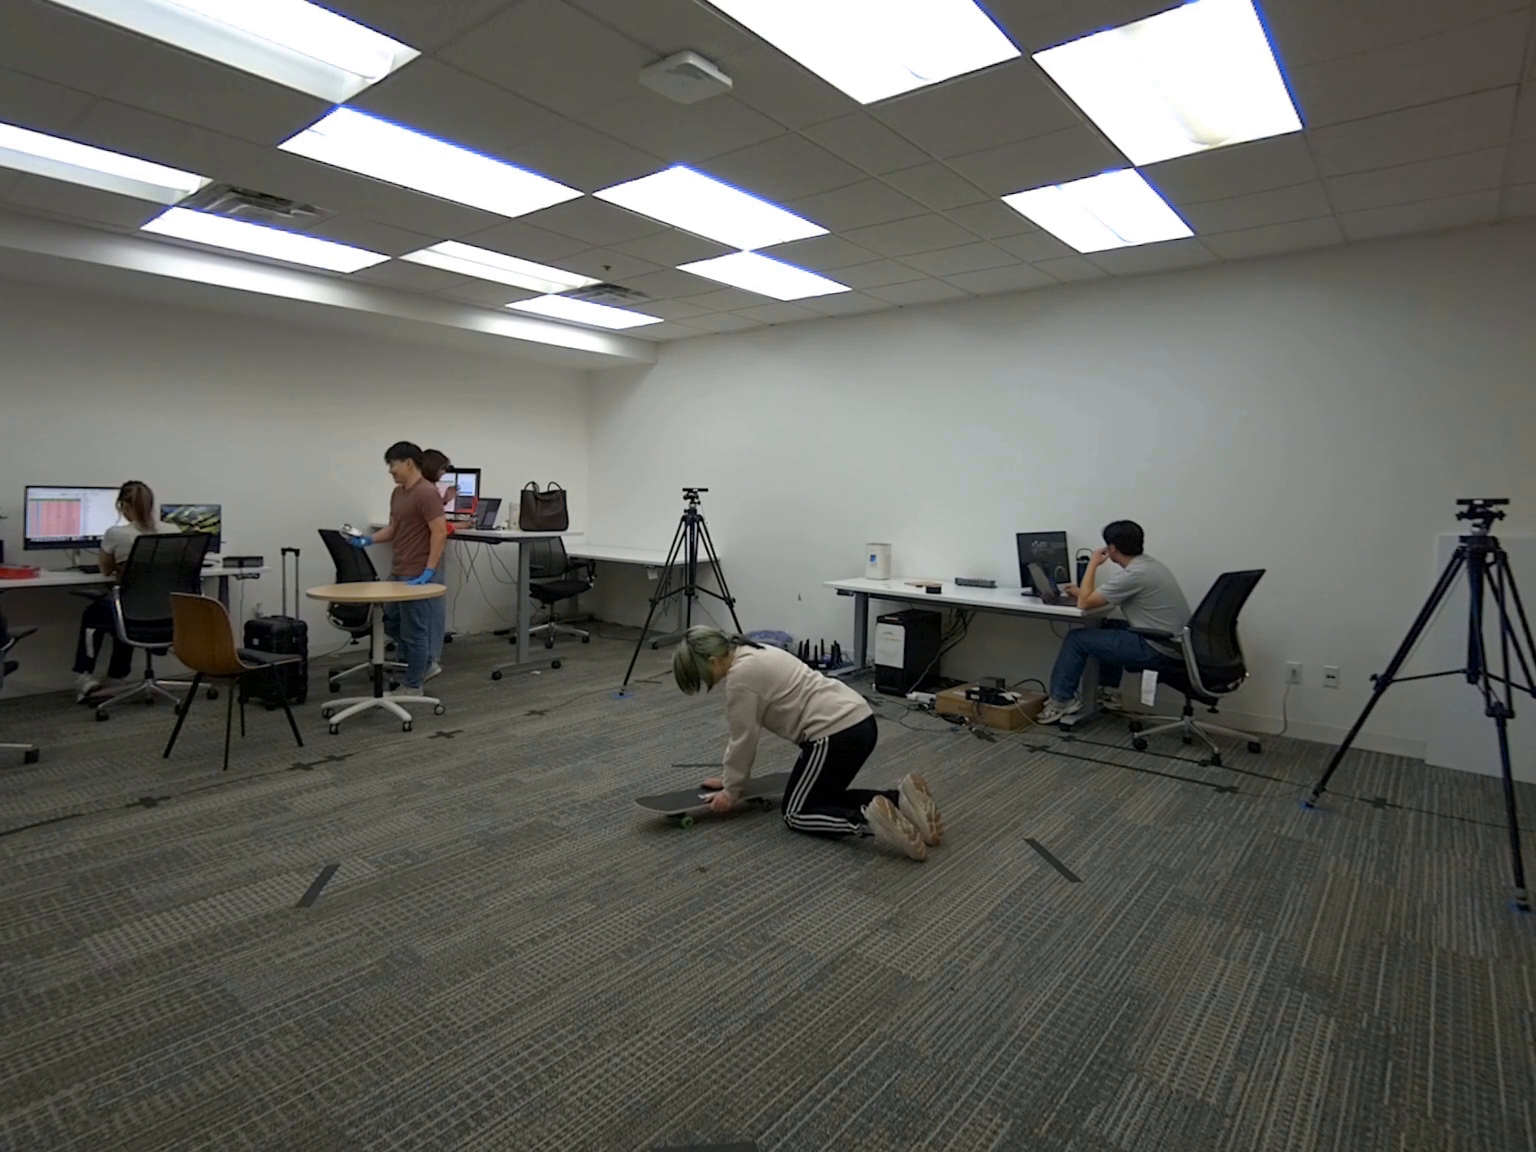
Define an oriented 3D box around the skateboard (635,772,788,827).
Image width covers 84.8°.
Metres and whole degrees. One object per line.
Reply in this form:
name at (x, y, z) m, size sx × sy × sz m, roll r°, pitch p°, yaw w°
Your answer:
skateboard at (-0.223, 0.967, 3.661) m, size 0.764 × 0.110 × 0.199 m, roll -1°, pitch 5°, yaw -30°
